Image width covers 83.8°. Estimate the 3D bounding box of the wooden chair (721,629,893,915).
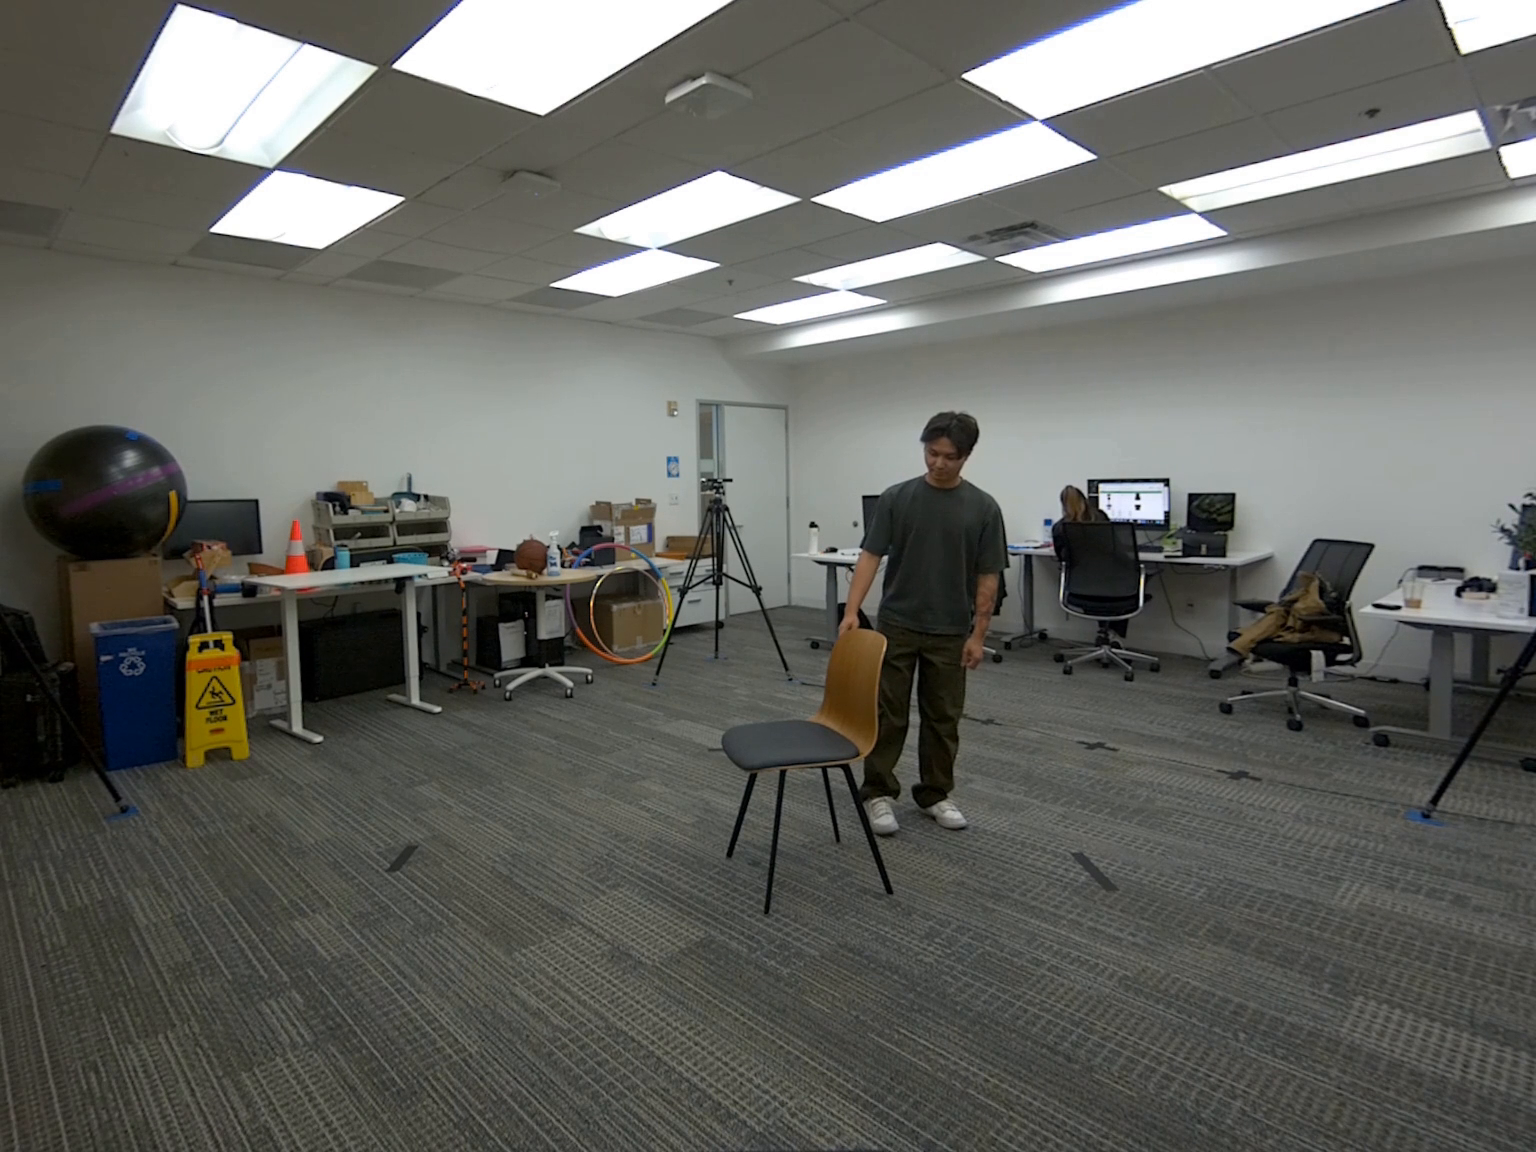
[{"bbox_3d":[0.121,0.628,2.974,0.514,0.875,0.487,2,4,-18],"label":"wooden chair"}]
